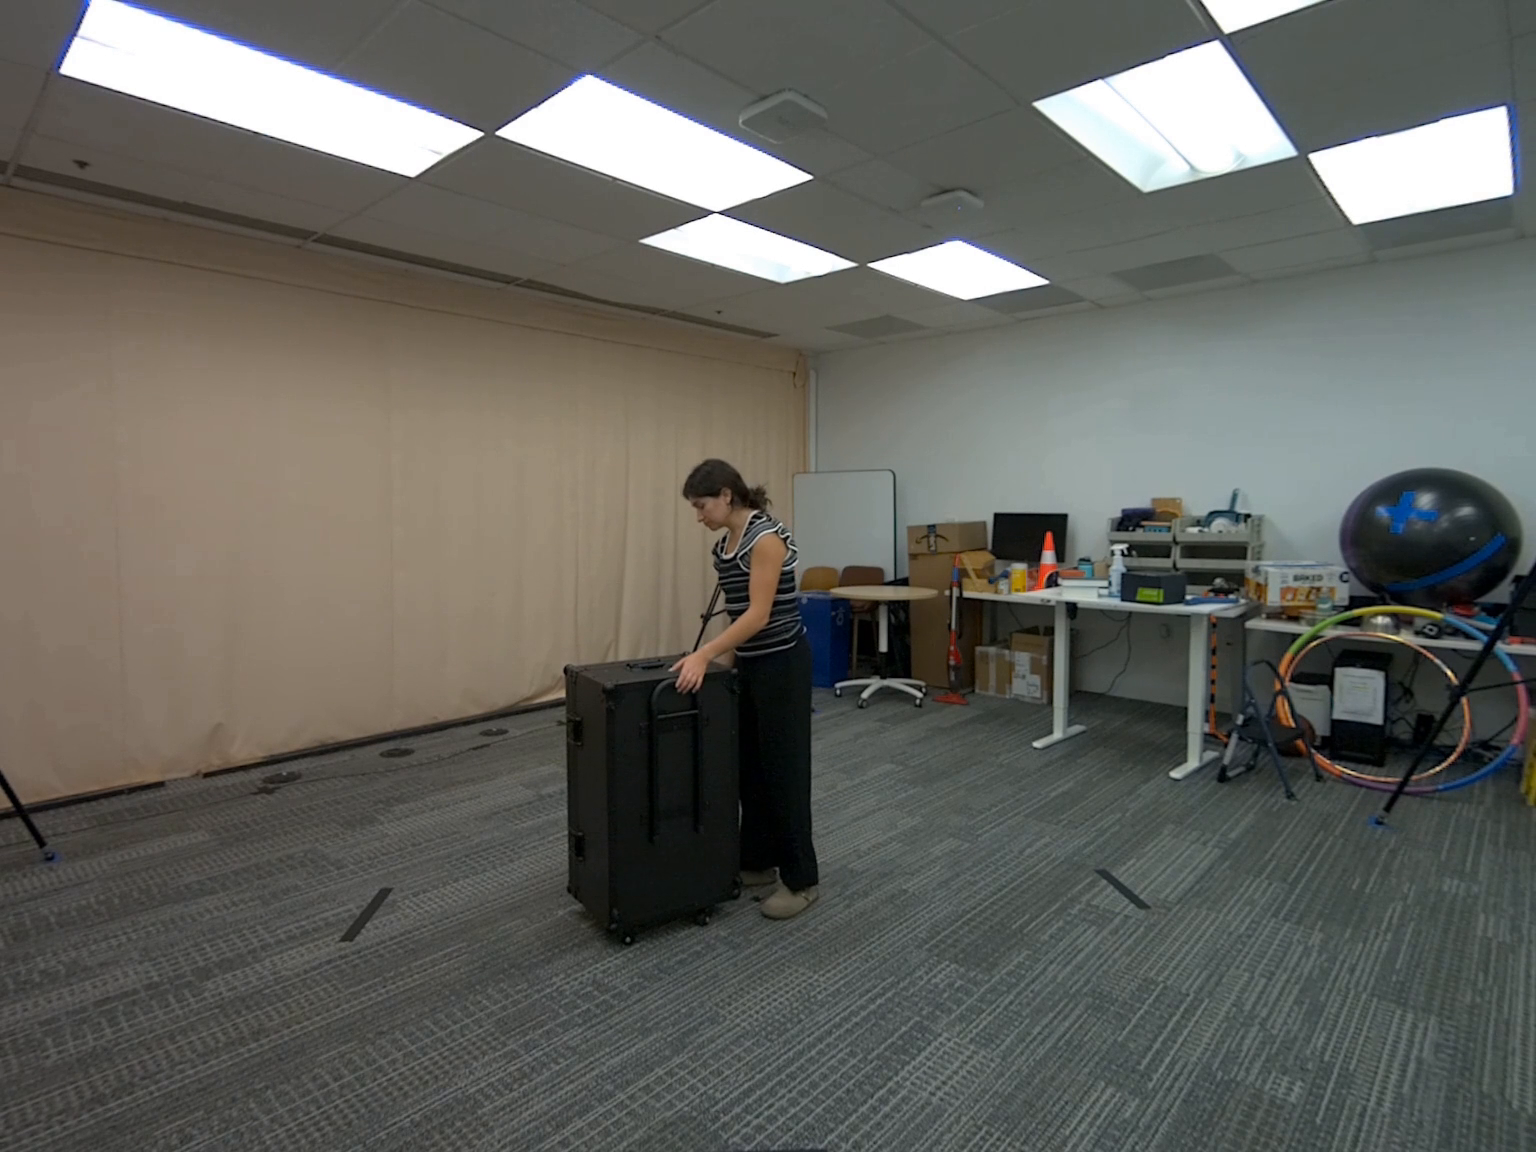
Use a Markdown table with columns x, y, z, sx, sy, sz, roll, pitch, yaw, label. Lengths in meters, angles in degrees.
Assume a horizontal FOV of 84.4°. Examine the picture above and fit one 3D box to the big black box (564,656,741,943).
| x | y | z | sx | sy | sz | roll | pitch | yaw | label |
| --- | --- | --- | --- | --- | --- | --- | --- | --- | --- |
| -0.386 | 0.735 | 2.840 | 0.507 | 0.859 | 0.408 | -2 | 4 | -32 | big black box |
